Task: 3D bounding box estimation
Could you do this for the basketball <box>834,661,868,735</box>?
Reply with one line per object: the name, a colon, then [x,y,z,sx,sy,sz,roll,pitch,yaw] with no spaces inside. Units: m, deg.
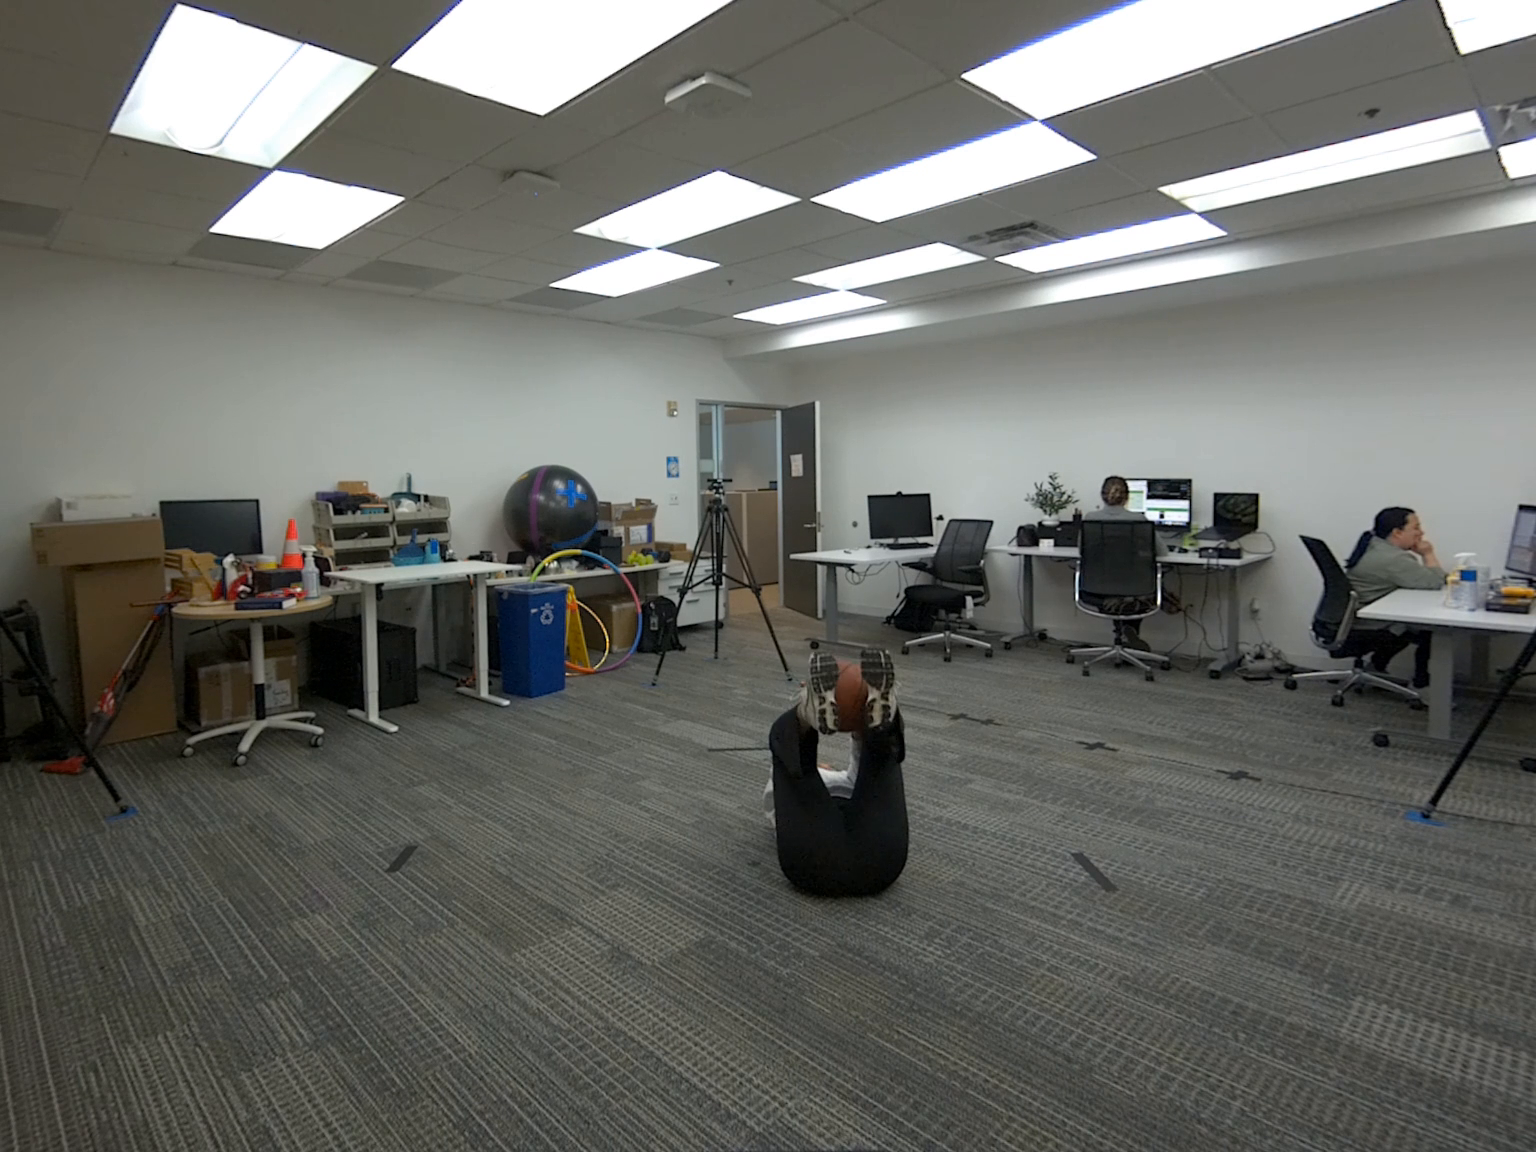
basketball: [0.265,0.413,2.840,0.236,0.235,0.237,-1,5,-2]
